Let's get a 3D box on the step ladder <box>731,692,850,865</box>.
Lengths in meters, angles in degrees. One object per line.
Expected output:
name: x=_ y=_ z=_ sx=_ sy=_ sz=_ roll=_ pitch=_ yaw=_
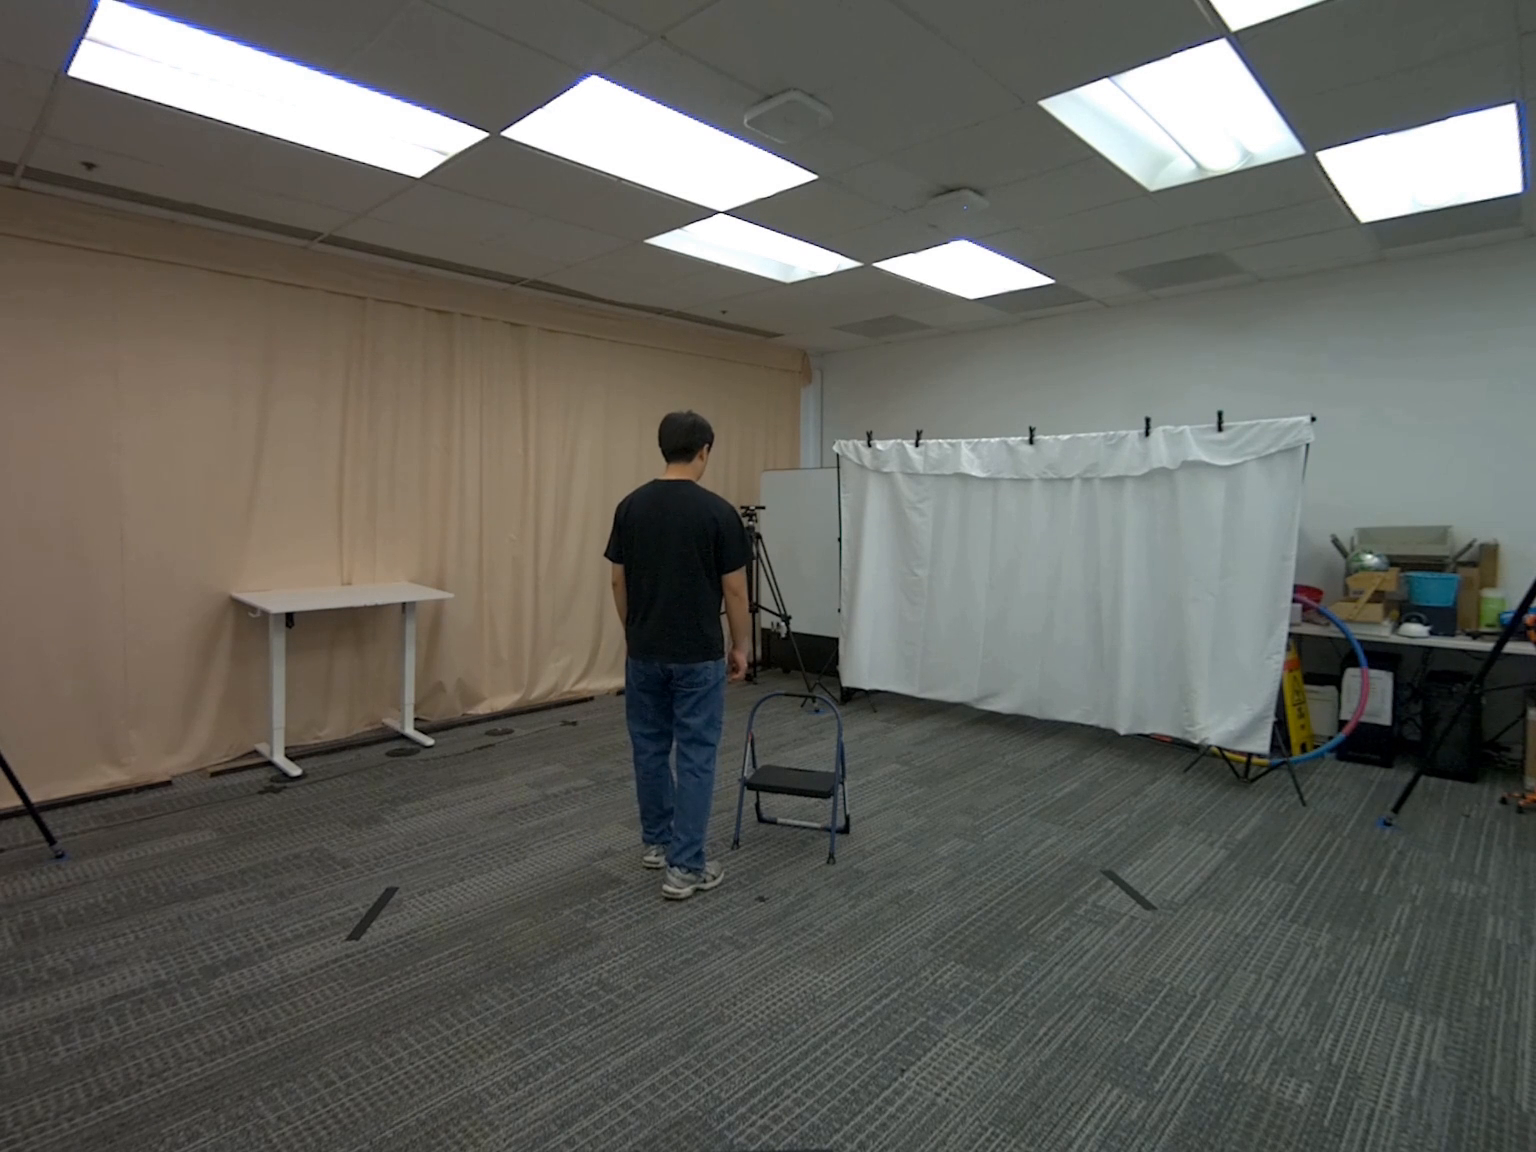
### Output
step ladder: x=0.109 y=0.799 z=3.492 sx=0.439 sy=0.605 sz=0.343 roll=1 pitch=3 yaw=19
